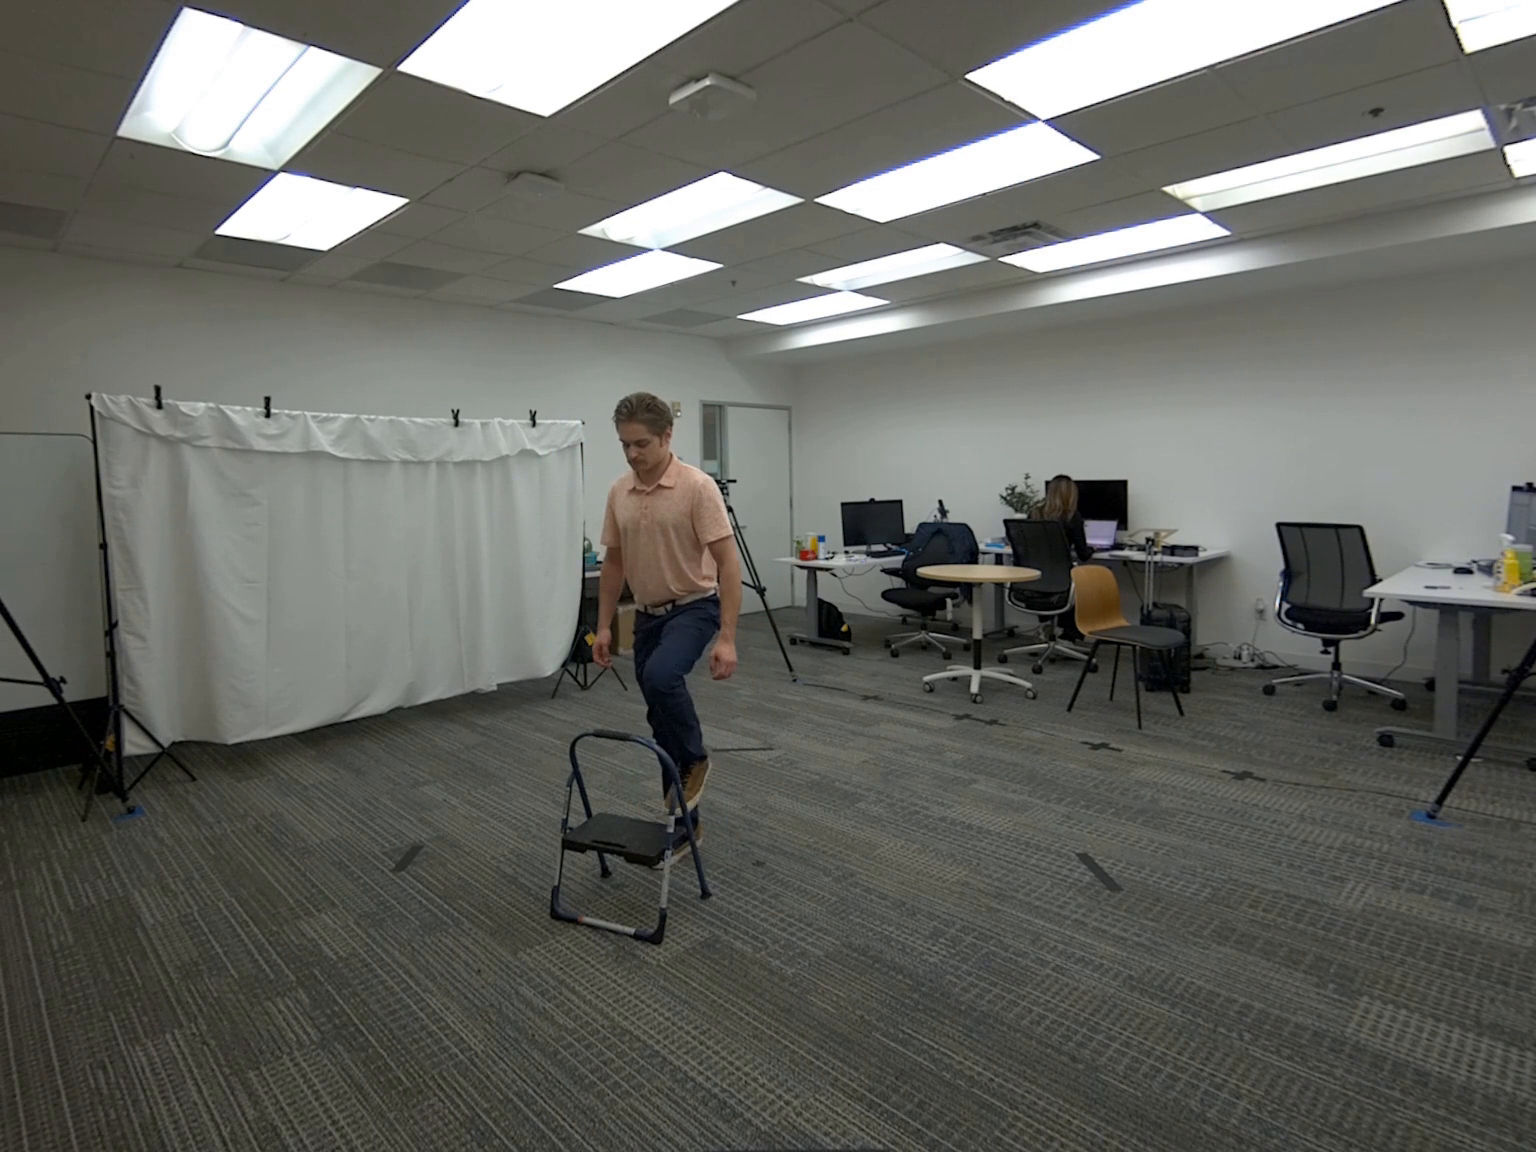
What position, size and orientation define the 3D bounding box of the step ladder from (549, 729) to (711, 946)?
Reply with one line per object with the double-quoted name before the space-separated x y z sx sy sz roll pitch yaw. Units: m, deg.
"step ladder" -0.456 0.788 2.794 0.440 0.603 0.343 1 5 24
